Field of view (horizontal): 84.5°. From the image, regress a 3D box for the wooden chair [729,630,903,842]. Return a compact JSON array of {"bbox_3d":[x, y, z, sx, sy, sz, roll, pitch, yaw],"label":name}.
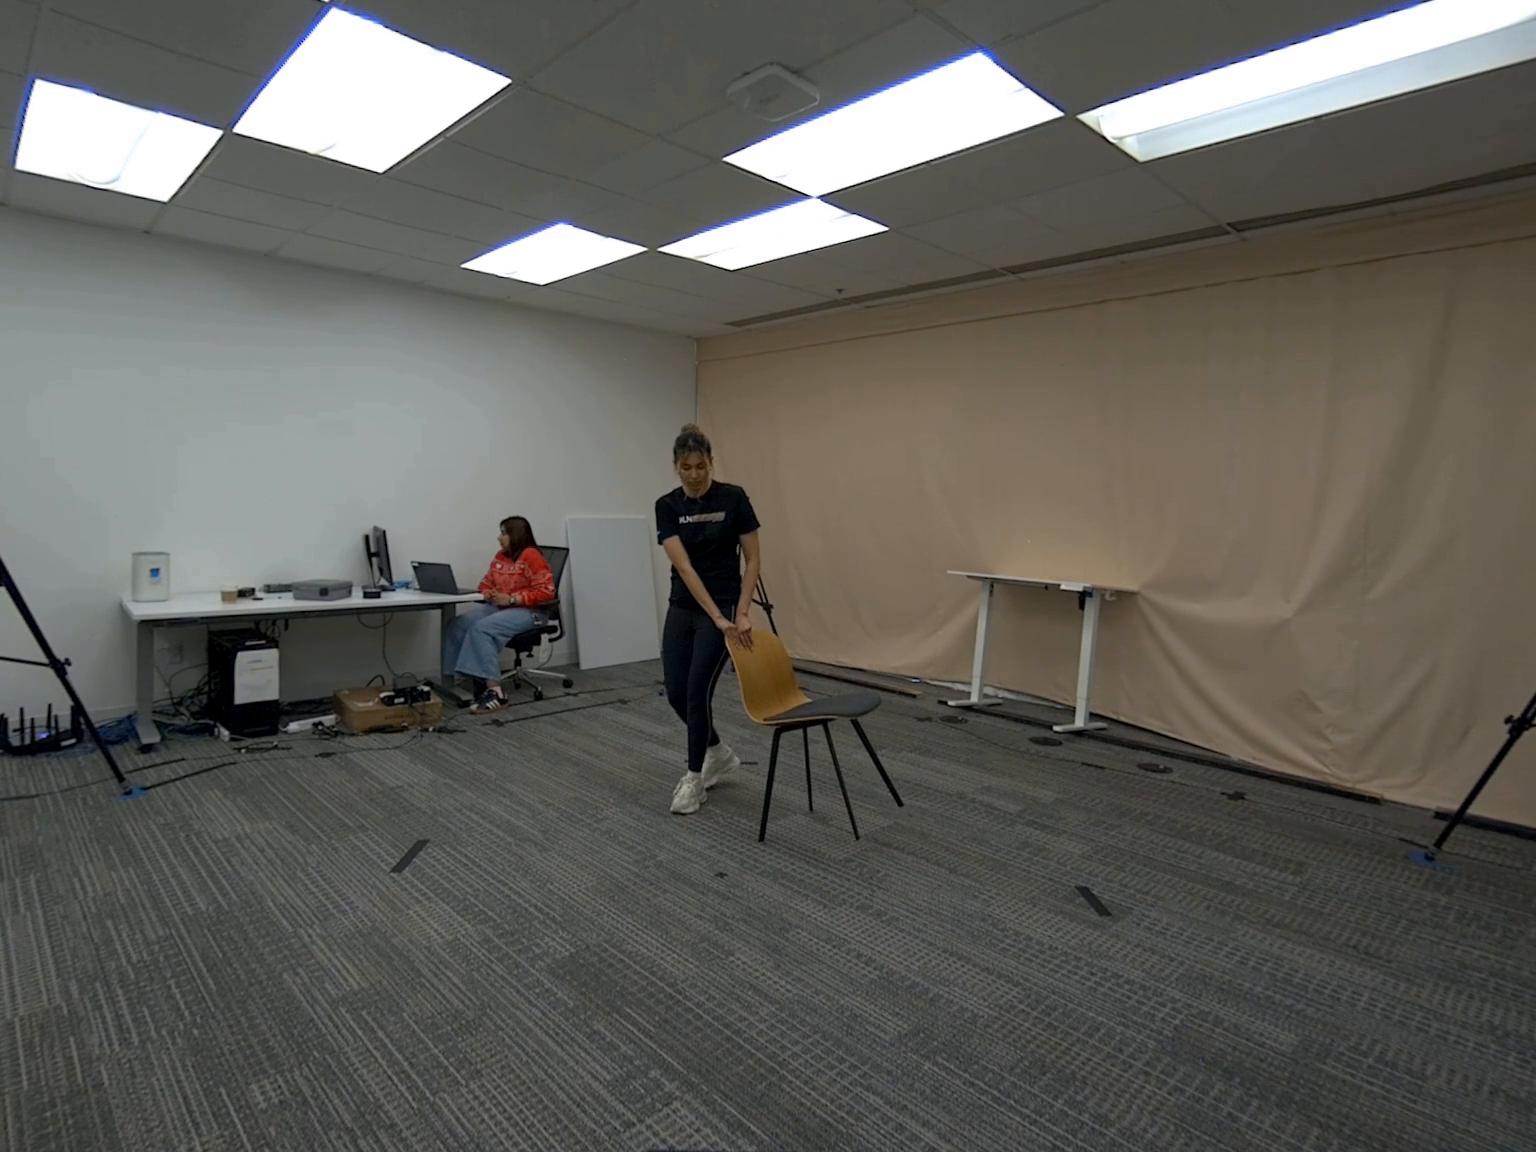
[{"bbox_3d":[0.188,0.607,3.499,0.530,0.884,0.468,-19,-9,32],"label":"wooden chair"}]
